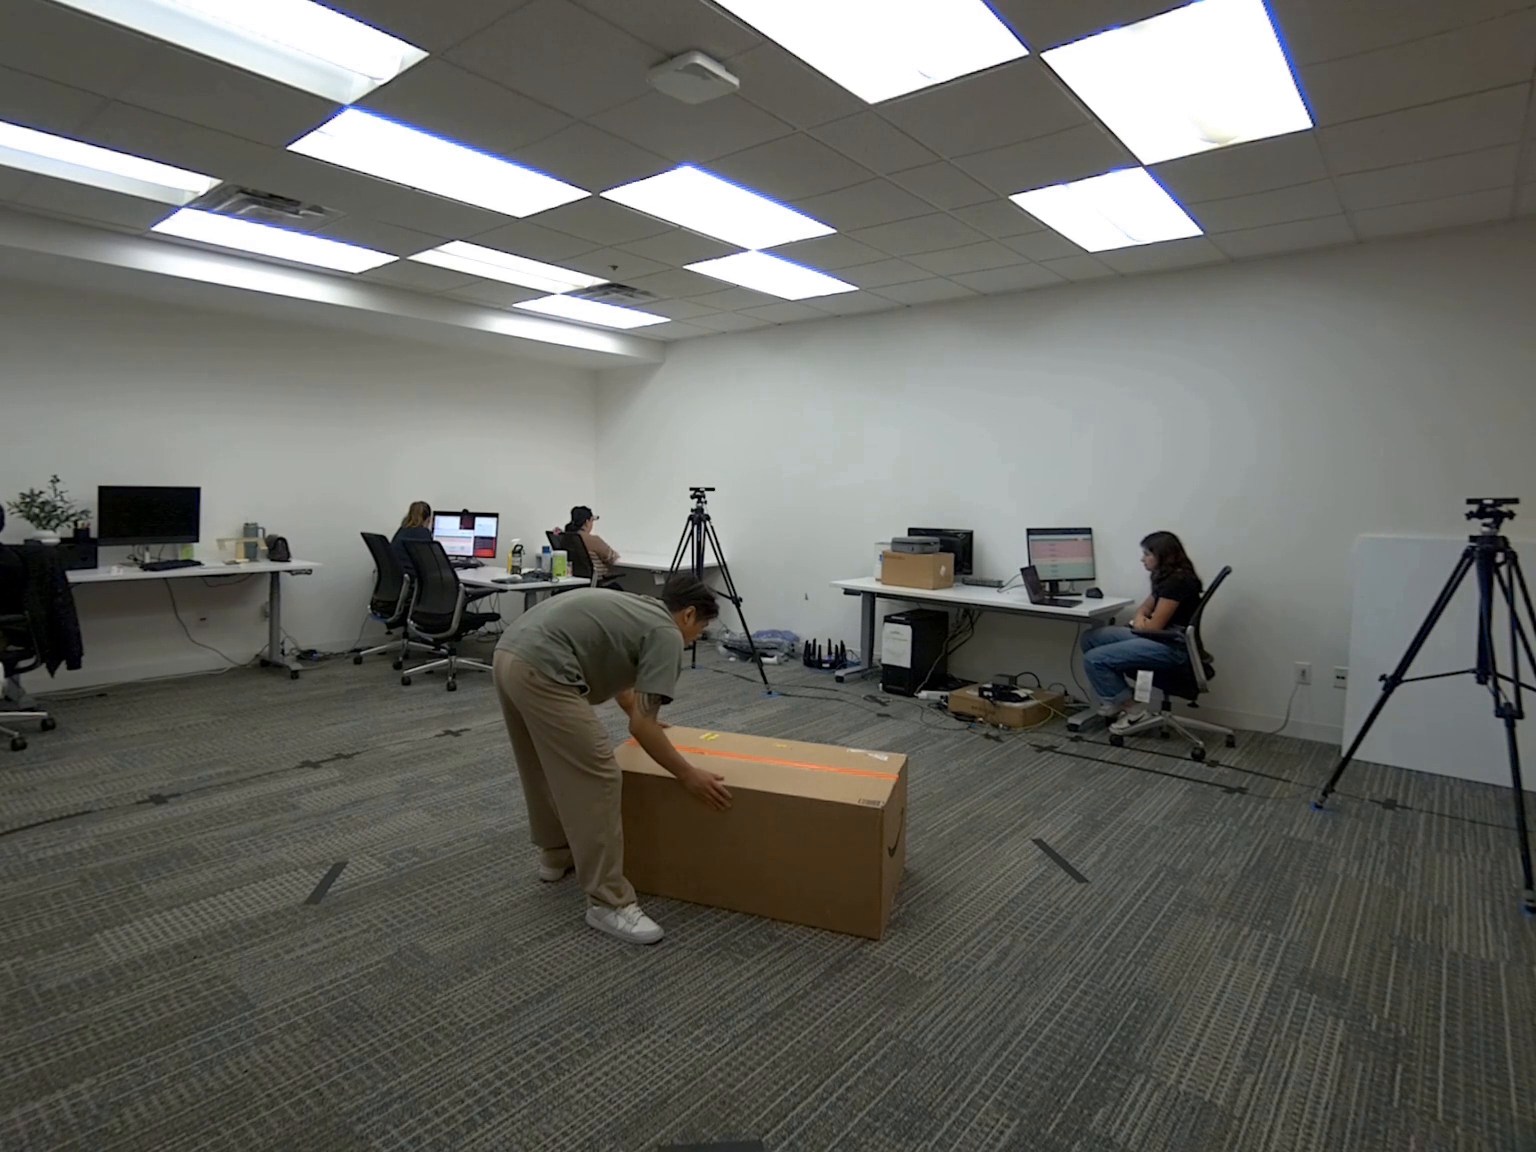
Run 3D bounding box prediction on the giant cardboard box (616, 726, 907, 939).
[{"bbox_3d":[-0.059,0.857,3.057,1.047,0.424,0.568,2,6,19],"label":"giant cardboard box"}]
